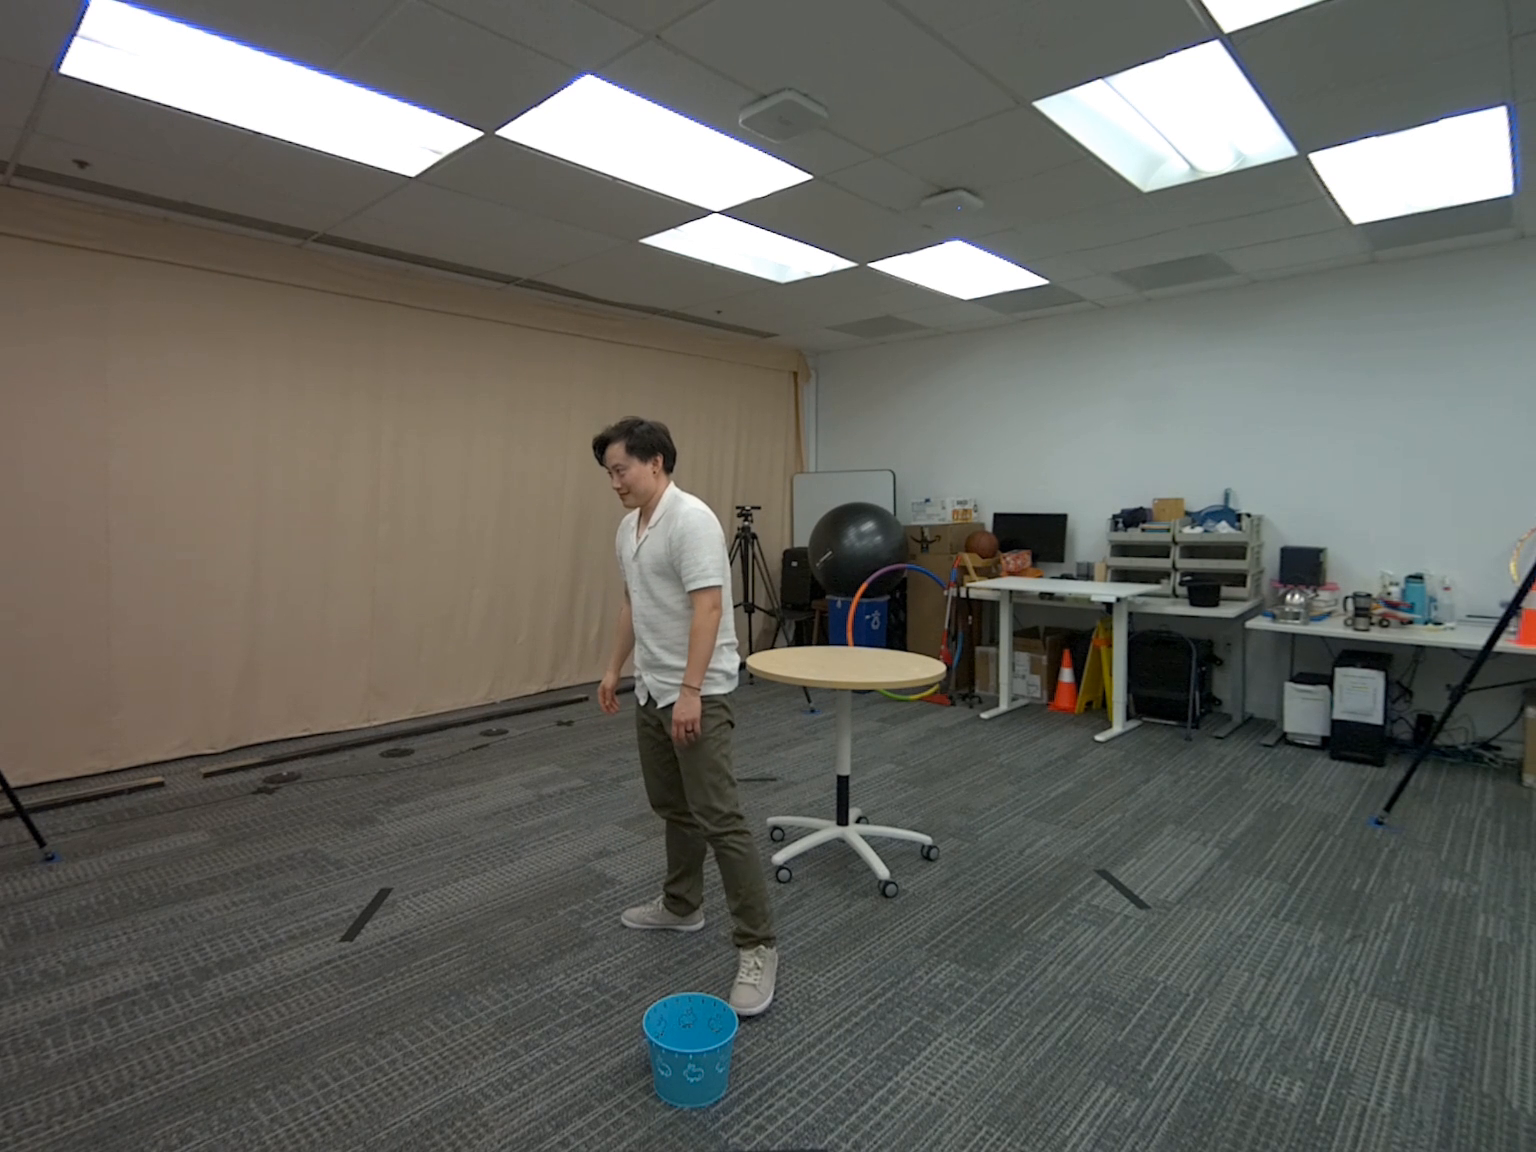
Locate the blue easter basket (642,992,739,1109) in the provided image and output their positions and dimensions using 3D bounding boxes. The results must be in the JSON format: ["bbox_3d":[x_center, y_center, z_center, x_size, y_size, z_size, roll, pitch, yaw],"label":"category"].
[{"bbox_3d":[-0.184,1.143,2.047,0.243,0.155,0.244,0,5,-2],"label":"blue easter basket"}]
